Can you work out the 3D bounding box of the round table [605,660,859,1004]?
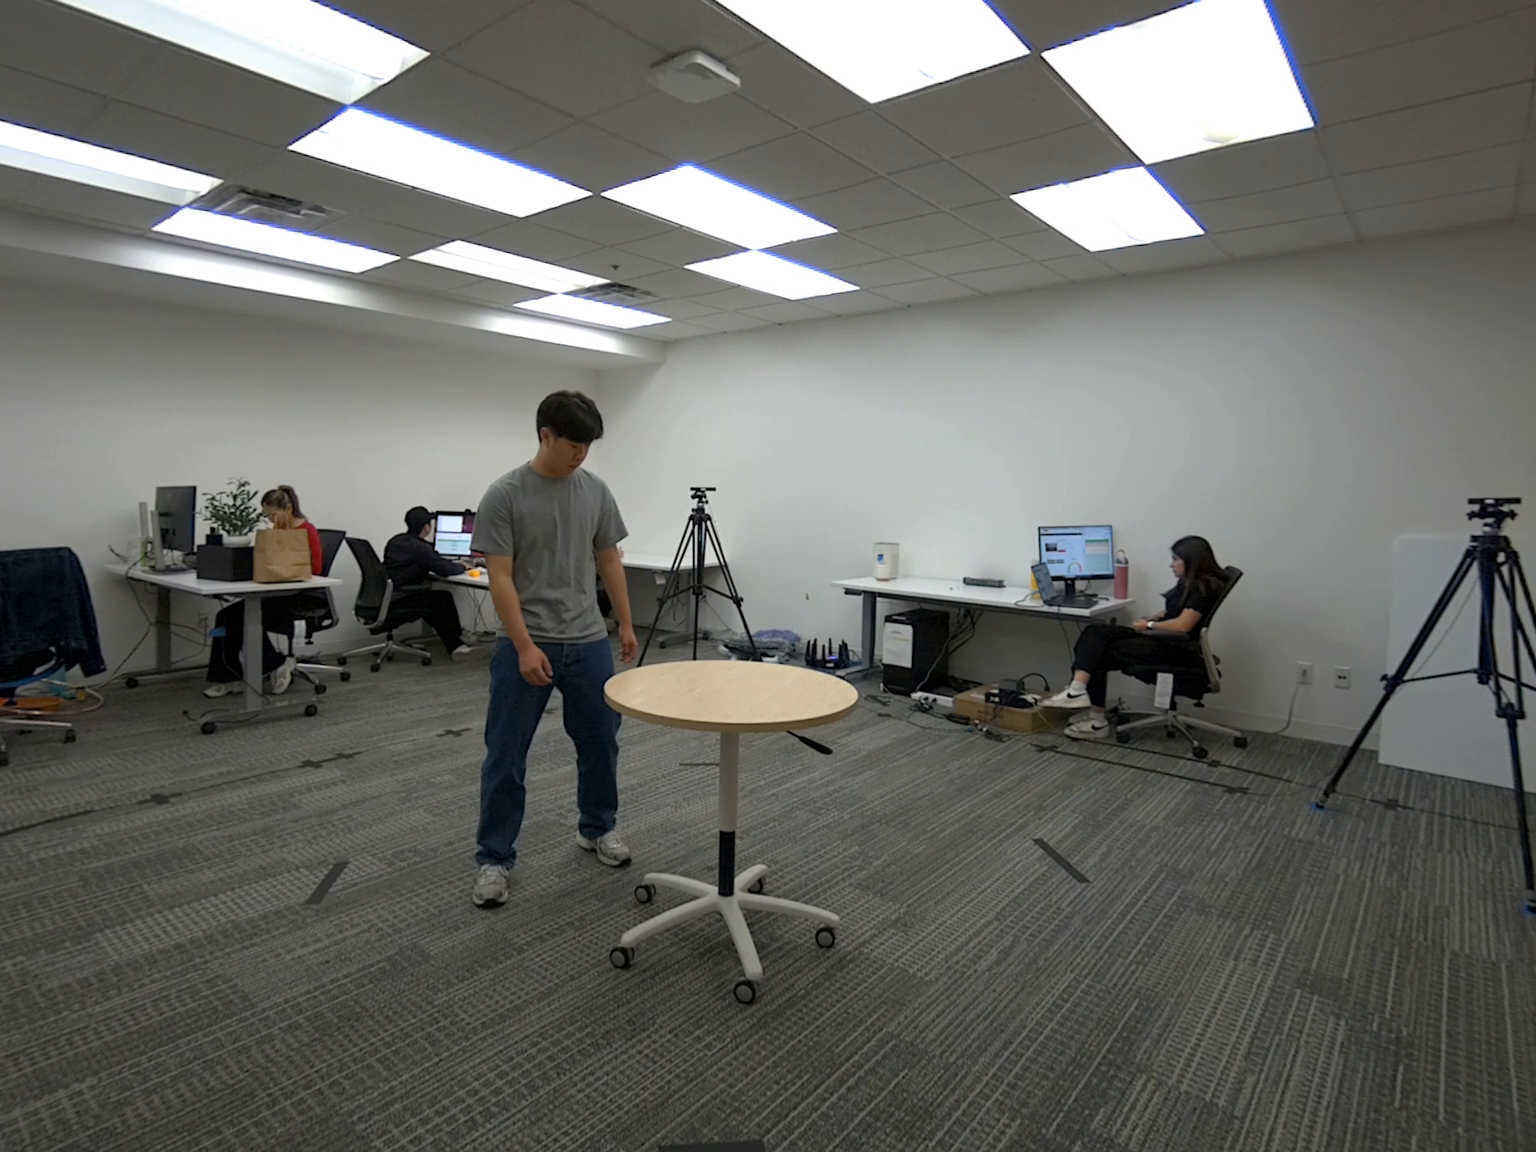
[{"bbox_3d":[-0.137,0.730,2.604,0.763,0.791,0.768,1,5,-2],"label":"round table"}]
